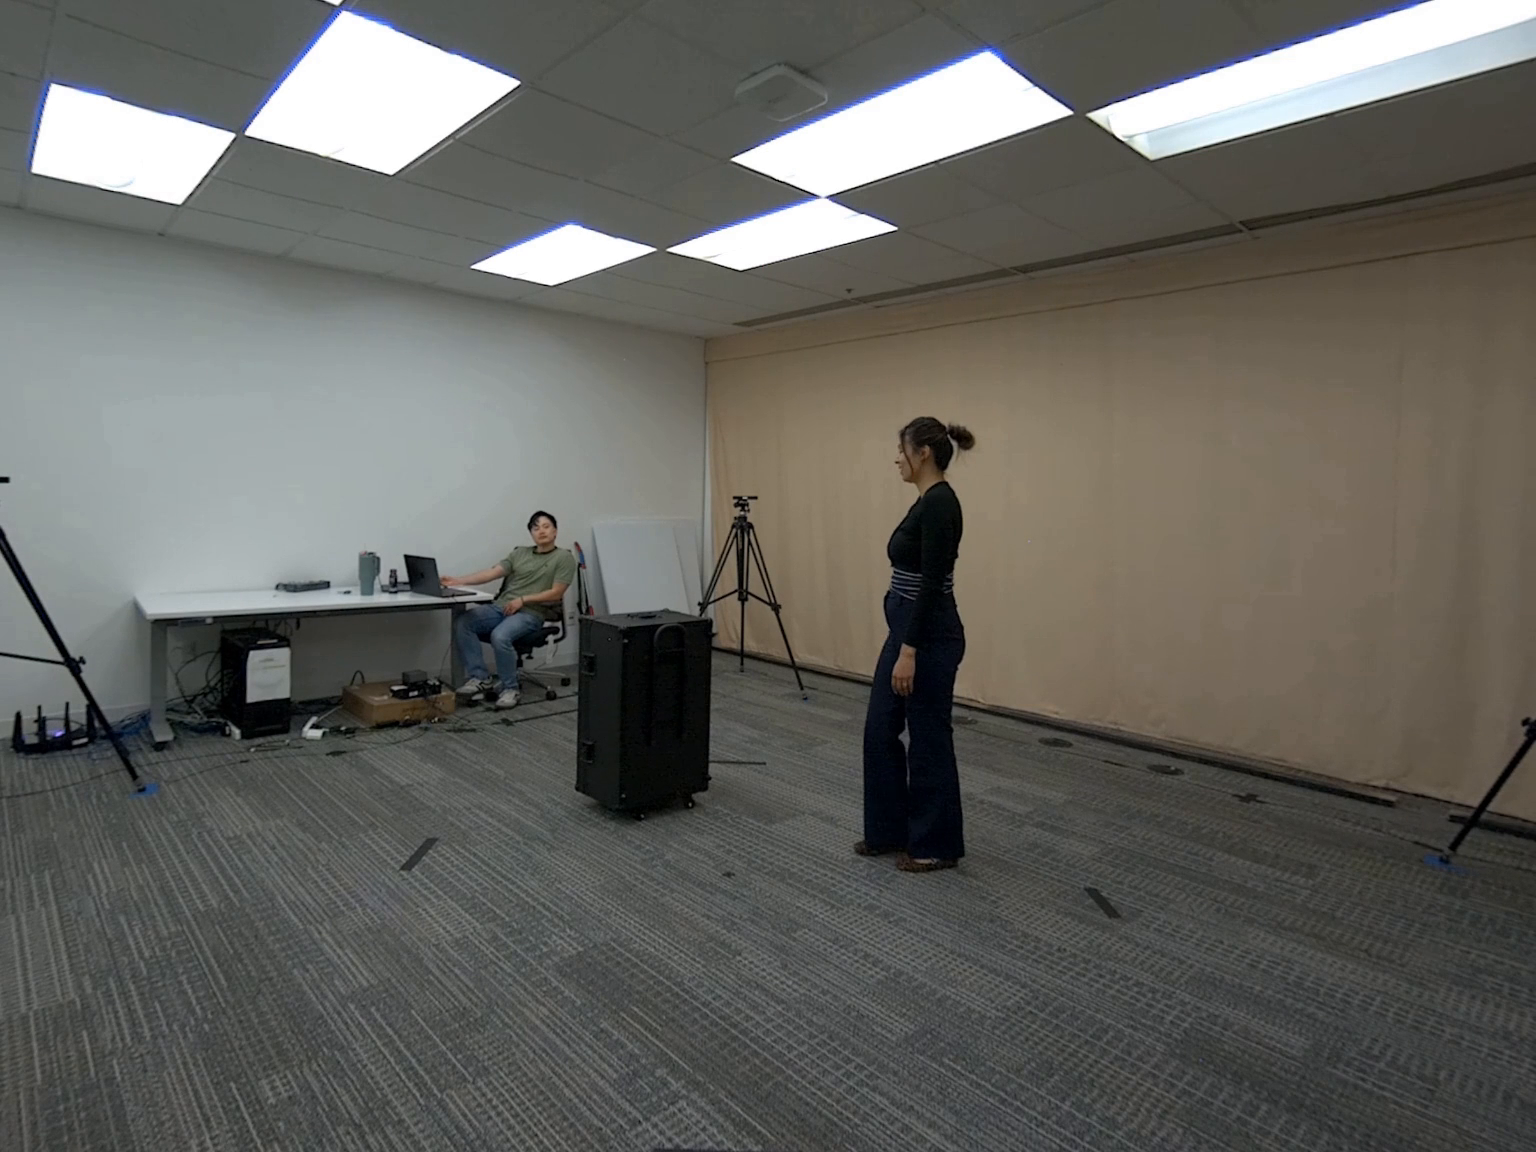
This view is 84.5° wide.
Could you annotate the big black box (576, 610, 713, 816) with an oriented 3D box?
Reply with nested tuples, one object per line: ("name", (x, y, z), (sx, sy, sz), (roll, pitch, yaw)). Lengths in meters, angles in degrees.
("big black box", (-0.550, 0.610, 3.760), (0.509, 0.859, 0.406), (-2, 6, -41))
